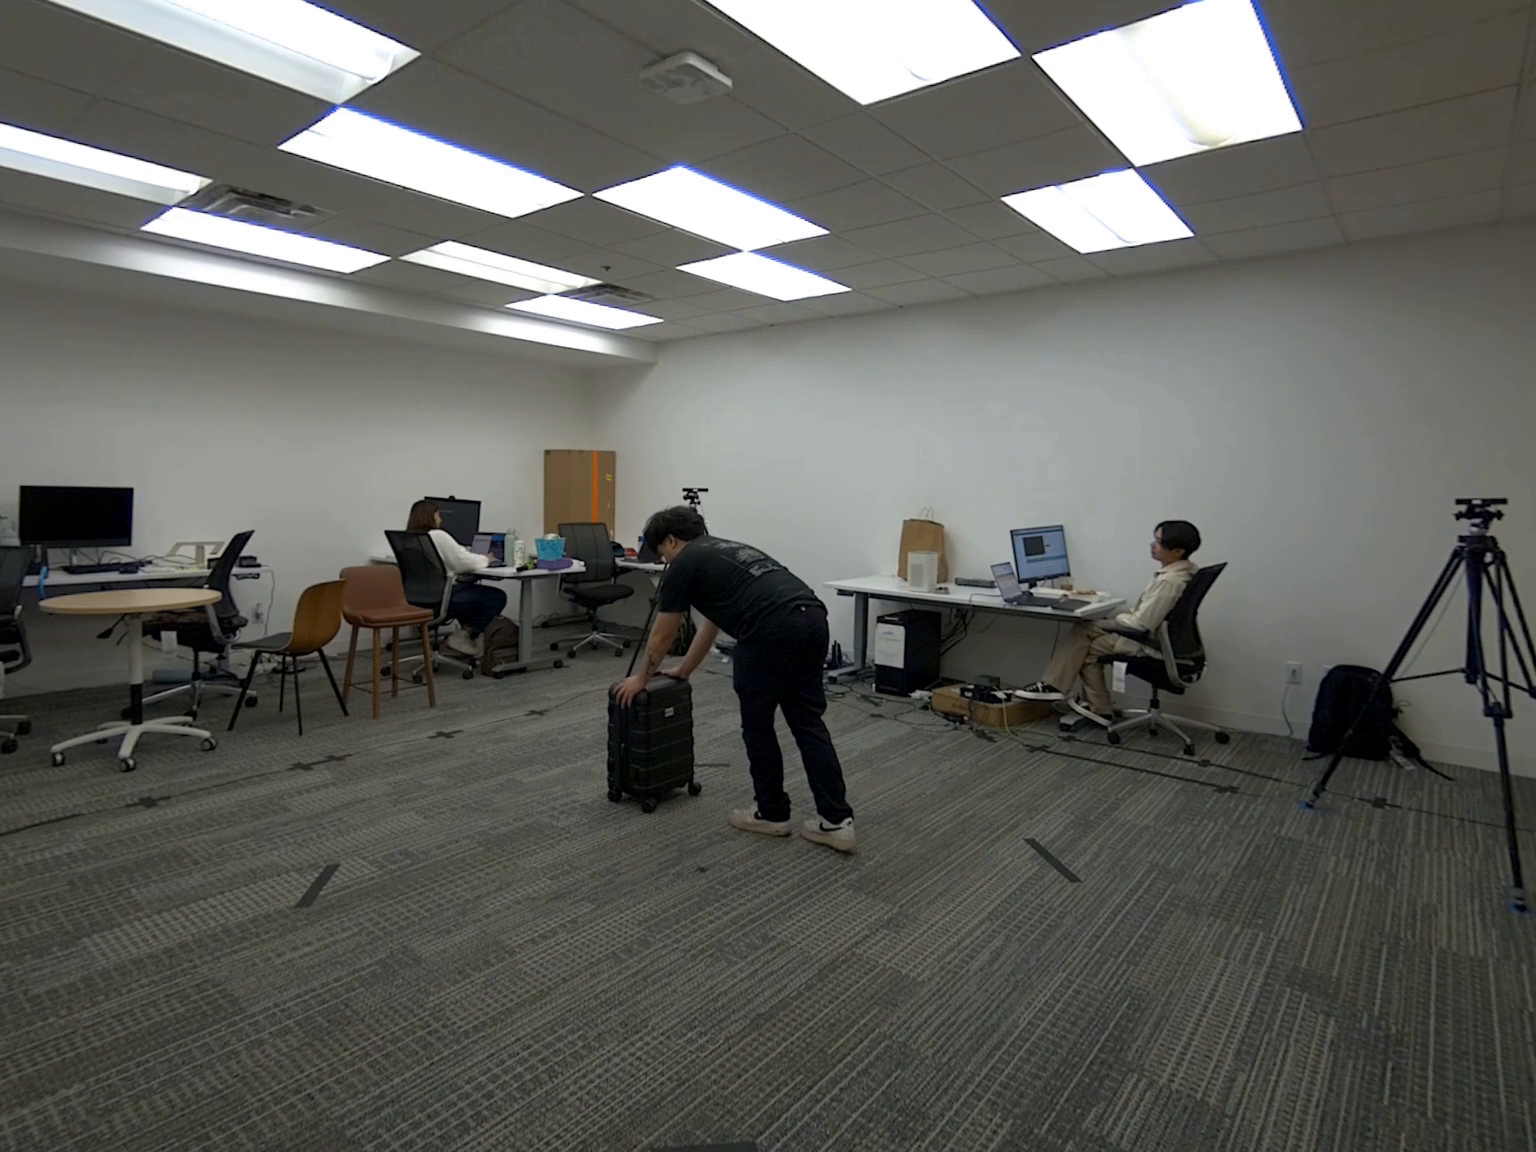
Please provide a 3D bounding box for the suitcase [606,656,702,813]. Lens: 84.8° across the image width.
[{"bbox_3d":[-0.537,0.721,3.835,0.256,0.548,0.364,0,2,38],"label":"suitcase"}]
